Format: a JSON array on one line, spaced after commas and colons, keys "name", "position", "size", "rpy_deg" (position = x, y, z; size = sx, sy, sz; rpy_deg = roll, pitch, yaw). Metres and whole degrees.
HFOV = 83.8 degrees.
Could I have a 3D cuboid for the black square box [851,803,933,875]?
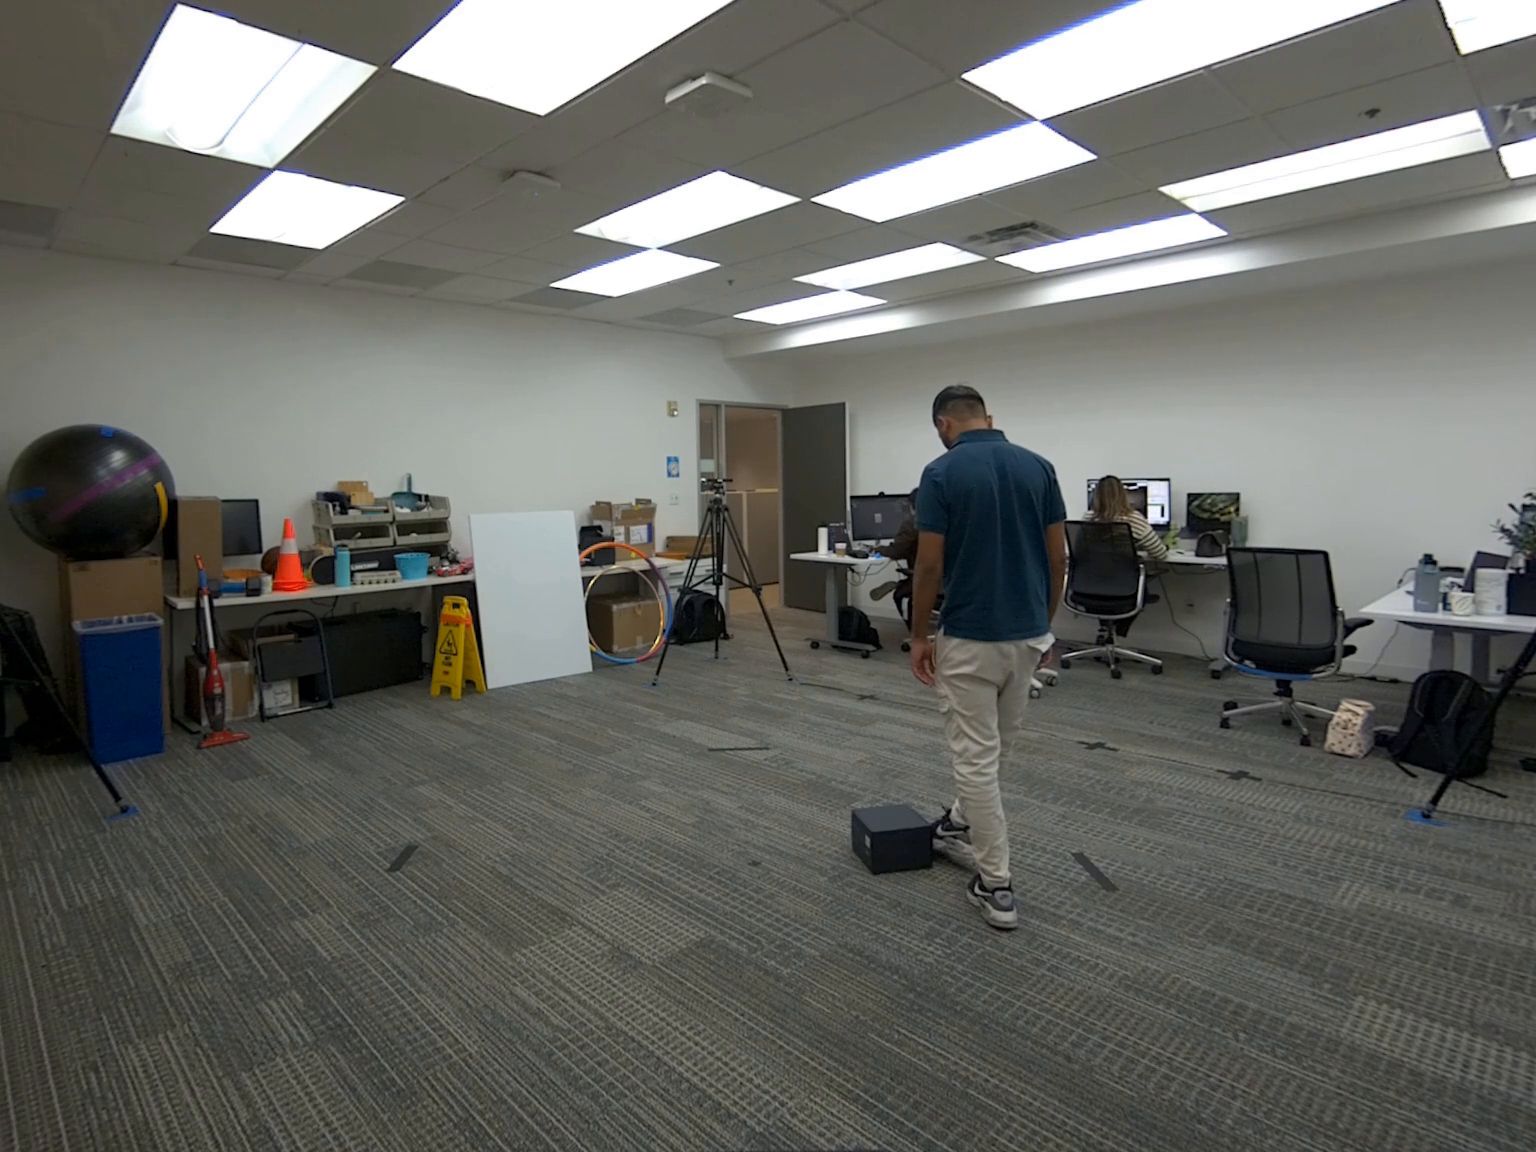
[{"name": "black square box", "position": [0.450, 0.952, 3.118], "size": [0.225, 0.155, 0.220], "rpy_deg": [-2, 5, -13]}]
